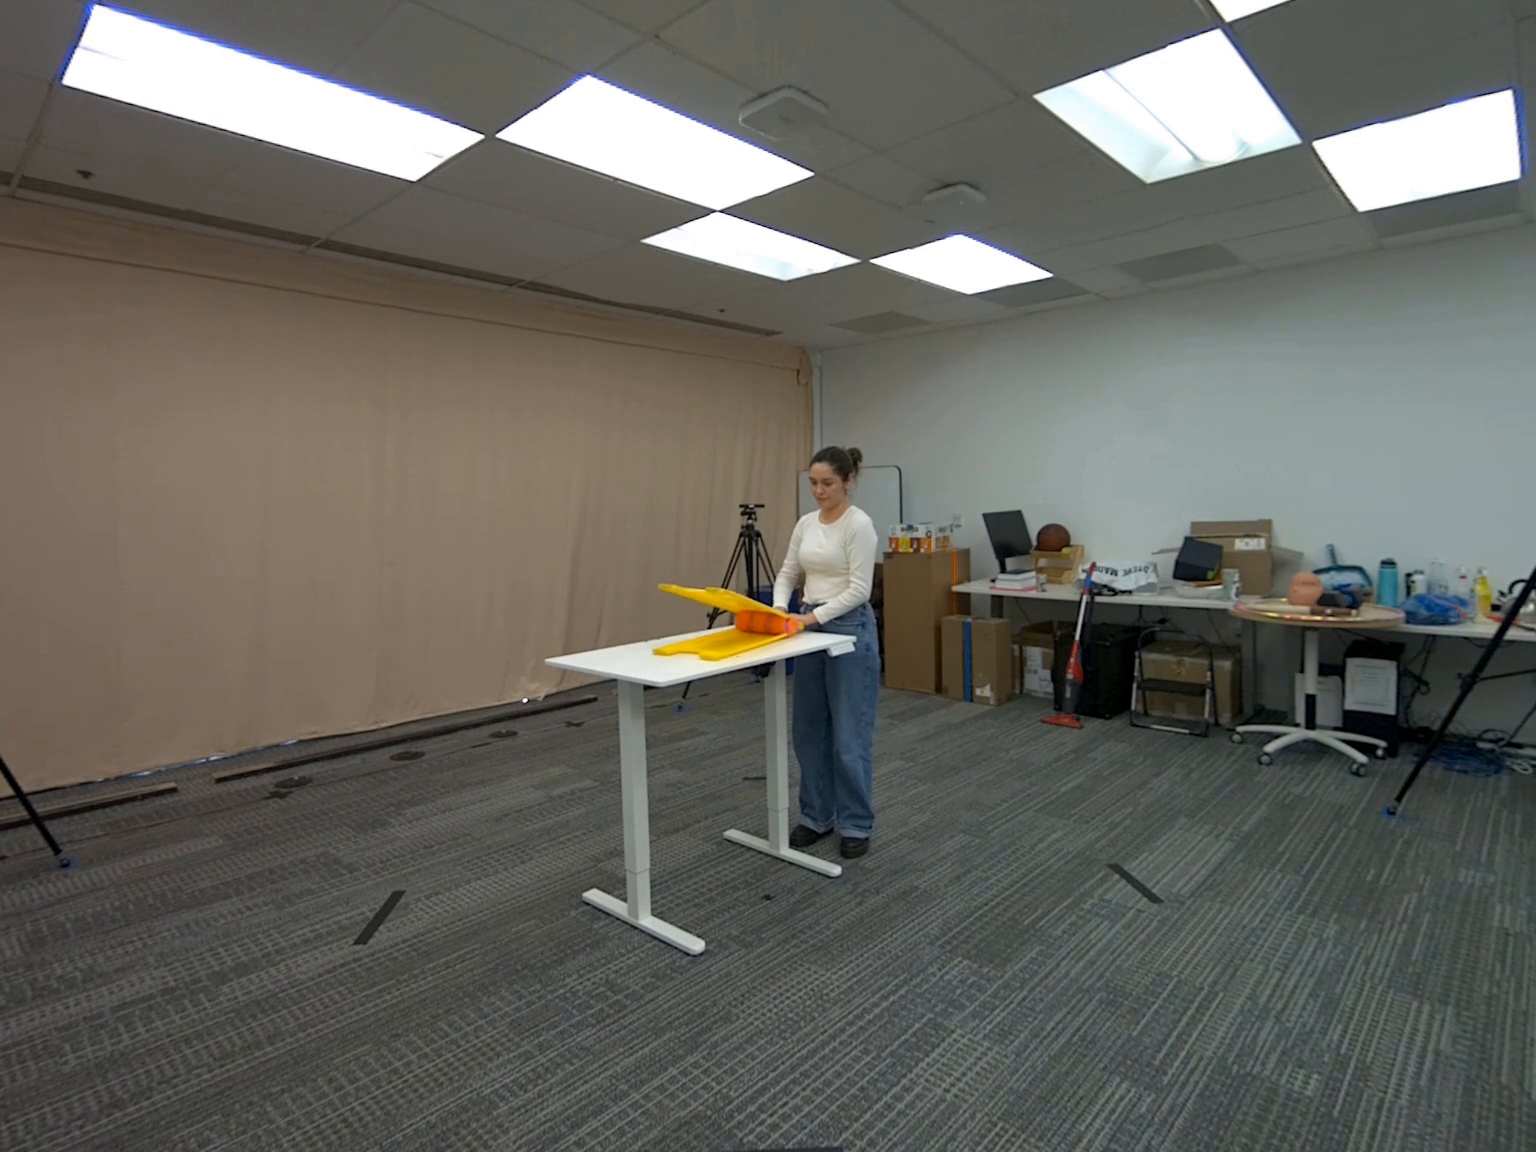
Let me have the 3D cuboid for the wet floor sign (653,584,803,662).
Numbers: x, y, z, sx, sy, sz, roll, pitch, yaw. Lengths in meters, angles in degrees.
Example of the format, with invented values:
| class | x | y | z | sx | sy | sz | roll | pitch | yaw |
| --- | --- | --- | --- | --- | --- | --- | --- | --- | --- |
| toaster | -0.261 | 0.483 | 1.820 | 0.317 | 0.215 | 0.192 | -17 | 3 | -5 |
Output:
| class | x | y | z | sx | sy | sz | roll | pitch | yaw |
| --- | --- | --- | --- | --- | --- | --- | --- | --- | --- |
| wet floor sign | -0.099 | 0.181 | 3.107 | 0.291 | 0.290 | 0.626 | 4 | -1 | 34 |
